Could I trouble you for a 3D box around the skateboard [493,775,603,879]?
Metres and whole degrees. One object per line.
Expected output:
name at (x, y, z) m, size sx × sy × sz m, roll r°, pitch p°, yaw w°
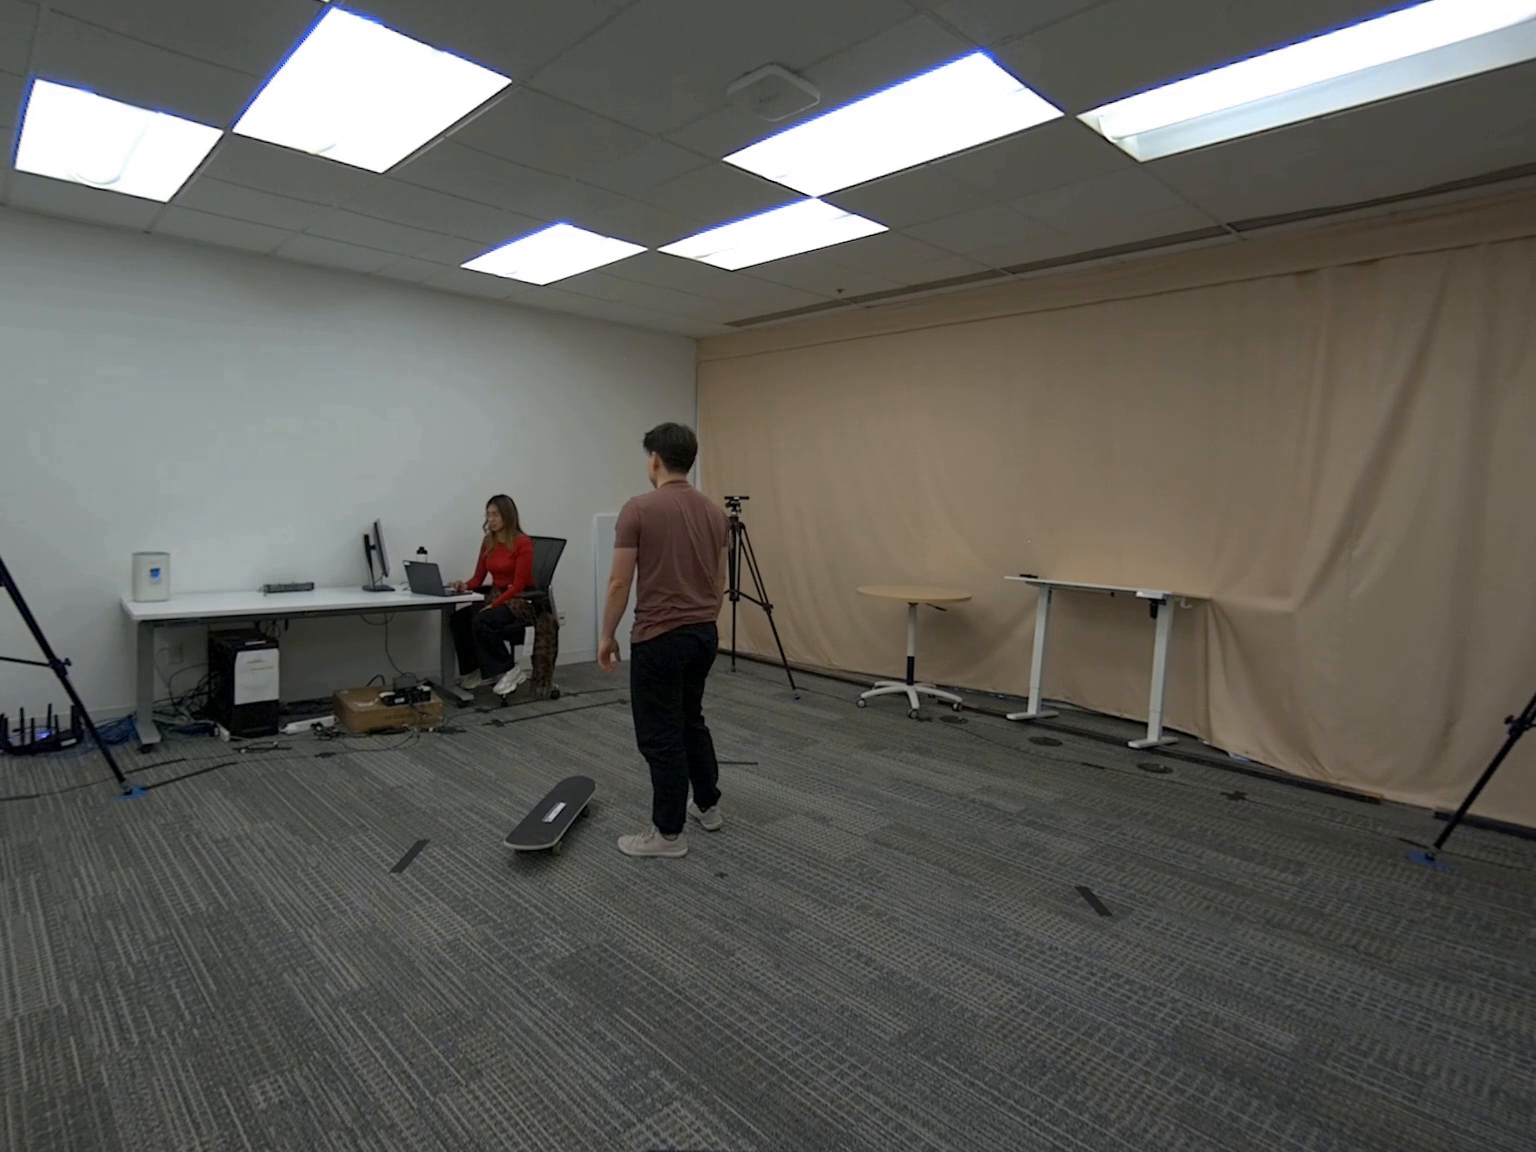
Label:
skateboard at (-0.873, 0.997, 3.446) m, size 0.194 × 0.110 × 0.784 m, roll 3°, pitch 5°, yaw 4°
